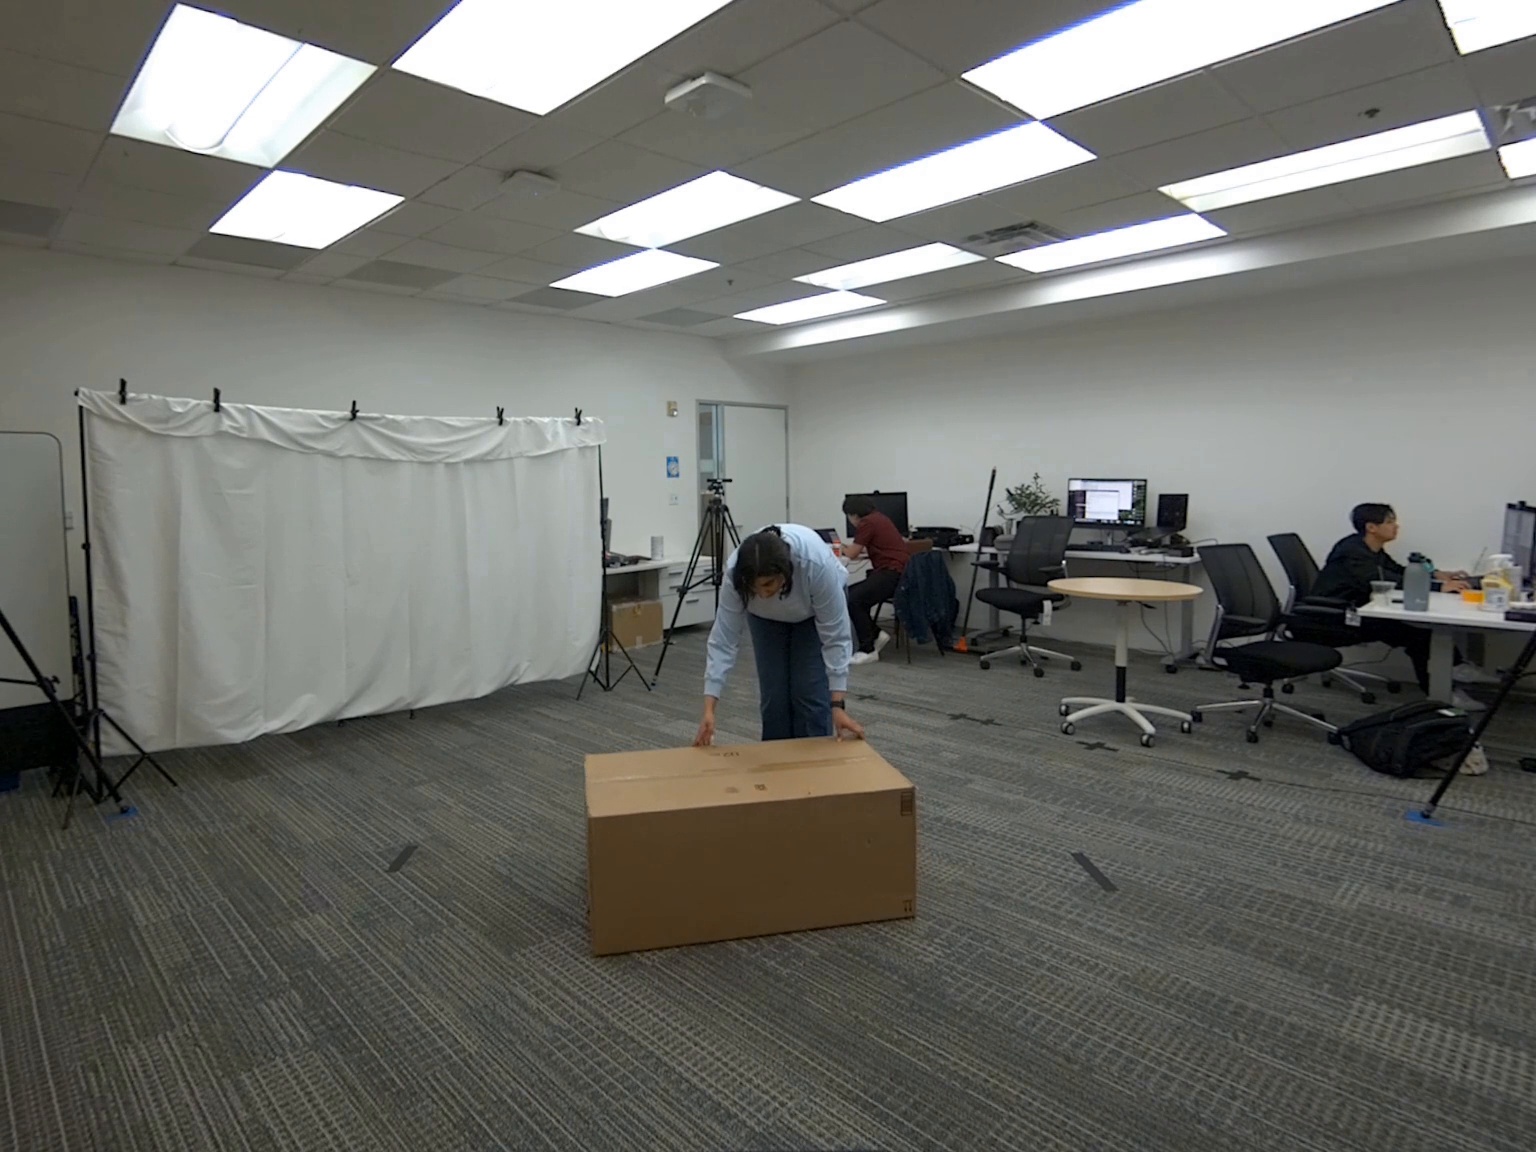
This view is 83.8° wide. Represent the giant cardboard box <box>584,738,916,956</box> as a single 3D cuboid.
[{"bbox_3d":[-0.095,0.859,2.871,1.015,0.424,0.586,-2,6,-11],"label":"giant cardboard box"}]
